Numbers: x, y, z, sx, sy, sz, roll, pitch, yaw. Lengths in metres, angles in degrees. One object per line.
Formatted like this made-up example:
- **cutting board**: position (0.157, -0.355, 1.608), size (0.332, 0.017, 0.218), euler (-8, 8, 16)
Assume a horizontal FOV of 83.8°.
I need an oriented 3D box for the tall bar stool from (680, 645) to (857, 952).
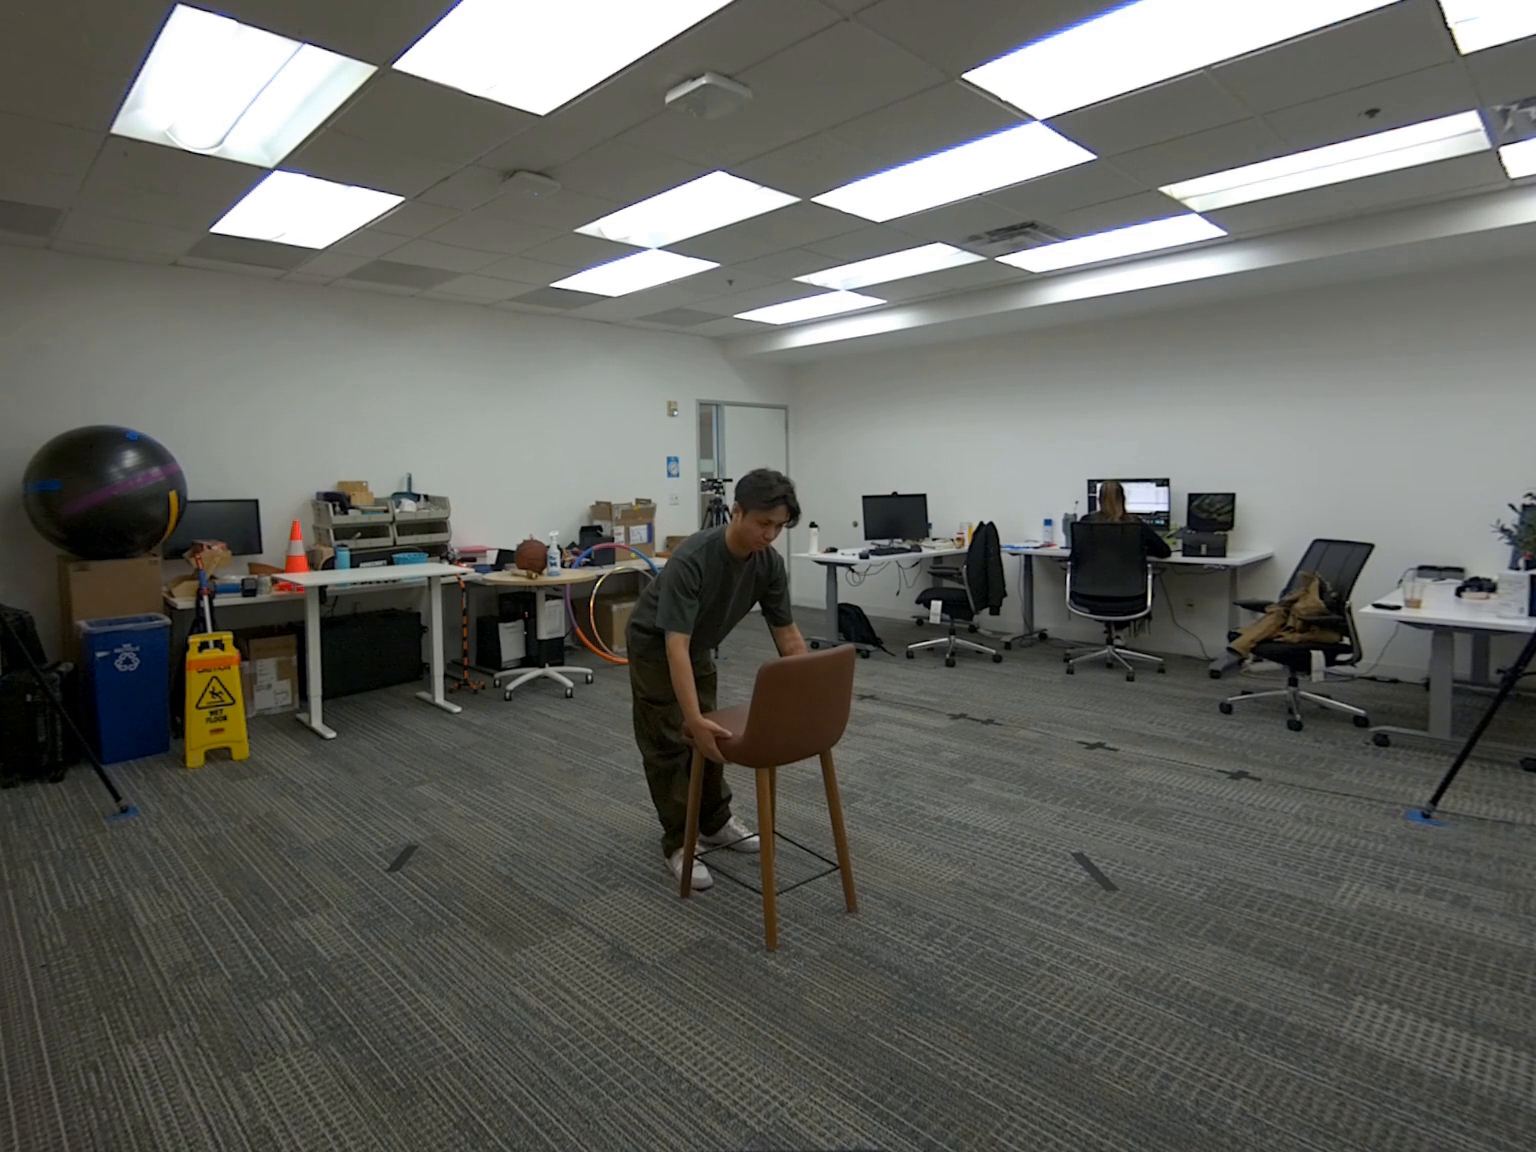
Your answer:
- **tall bar stool**: position (0.002, 0.640, 2.782), size (0.444, 0.885, 0.482), euler (-4, 7, -39)
